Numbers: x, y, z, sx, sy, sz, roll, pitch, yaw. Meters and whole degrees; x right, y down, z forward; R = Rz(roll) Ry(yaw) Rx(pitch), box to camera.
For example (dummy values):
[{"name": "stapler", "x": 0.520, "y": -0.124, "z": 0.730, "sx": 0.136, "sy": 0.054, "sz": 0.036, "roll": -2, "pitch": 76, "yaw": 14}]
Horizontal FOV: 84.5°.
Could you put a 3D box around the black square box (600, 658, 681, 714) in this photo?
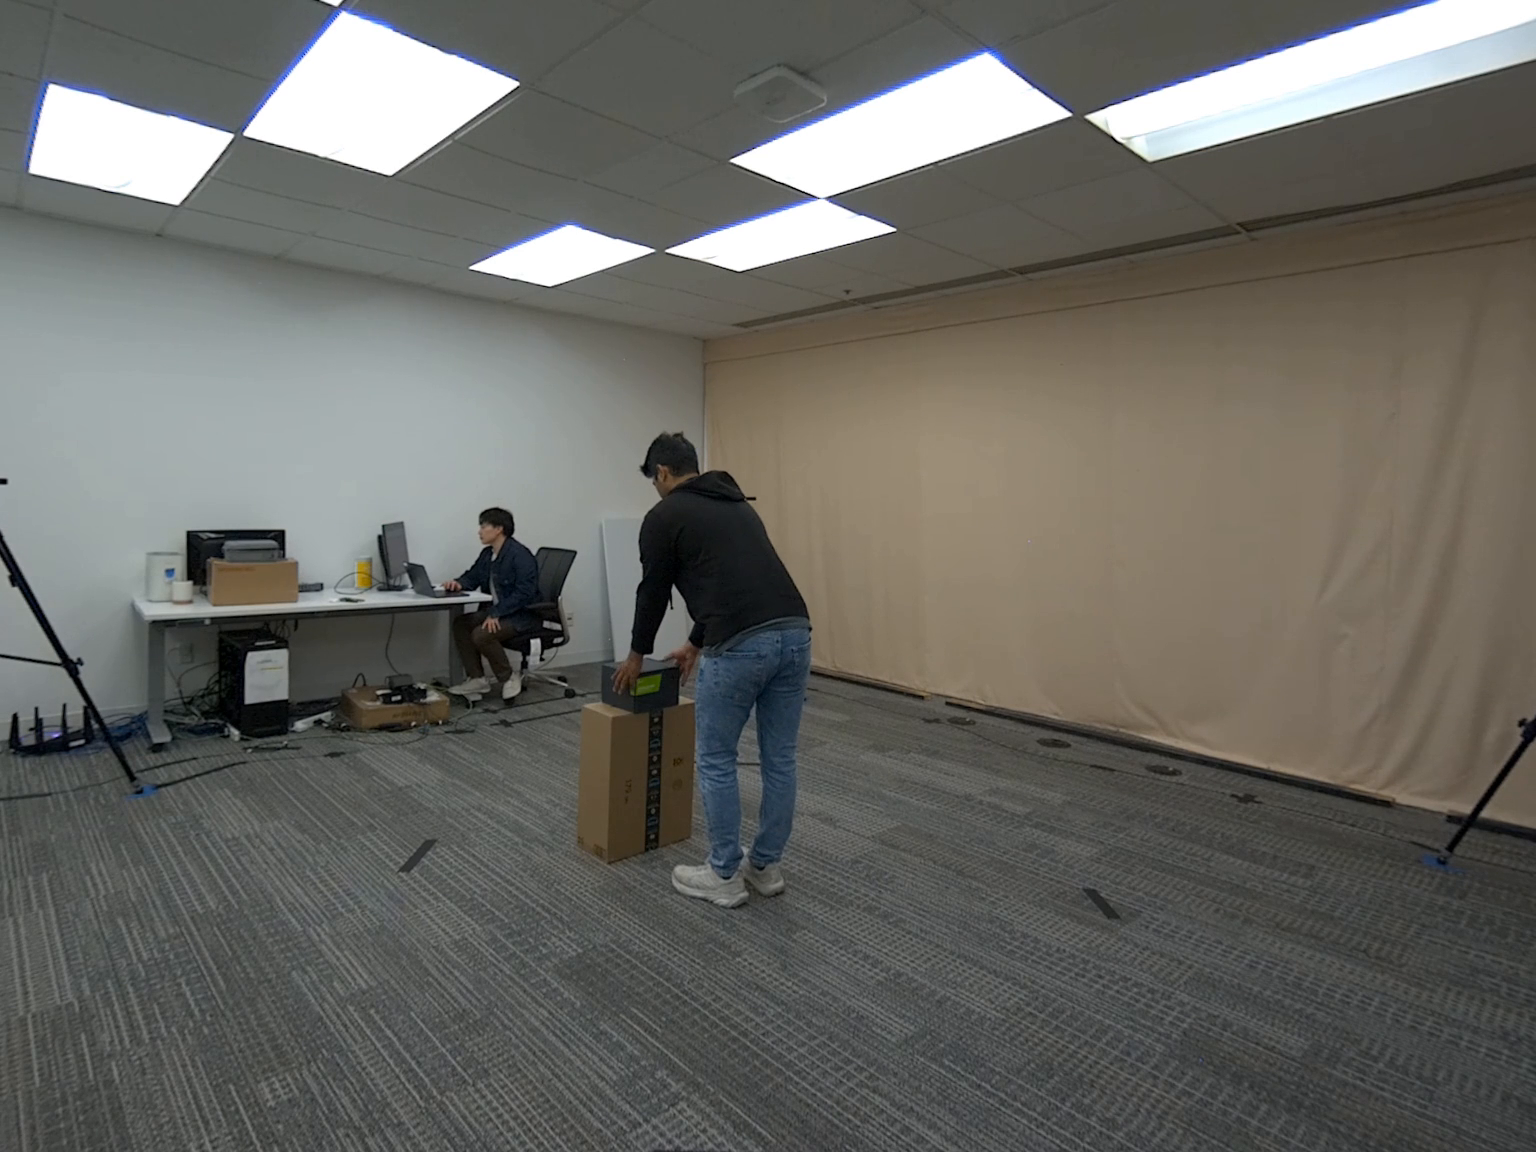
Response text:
[{"name": "black square box", "x": -0.512, "y": 0.429, "z": 3.356, "sx": 0.223, "sy": 0.155, "sz": 0.223, "roll": 7, "pitch": 7, "yaw": 43}]
